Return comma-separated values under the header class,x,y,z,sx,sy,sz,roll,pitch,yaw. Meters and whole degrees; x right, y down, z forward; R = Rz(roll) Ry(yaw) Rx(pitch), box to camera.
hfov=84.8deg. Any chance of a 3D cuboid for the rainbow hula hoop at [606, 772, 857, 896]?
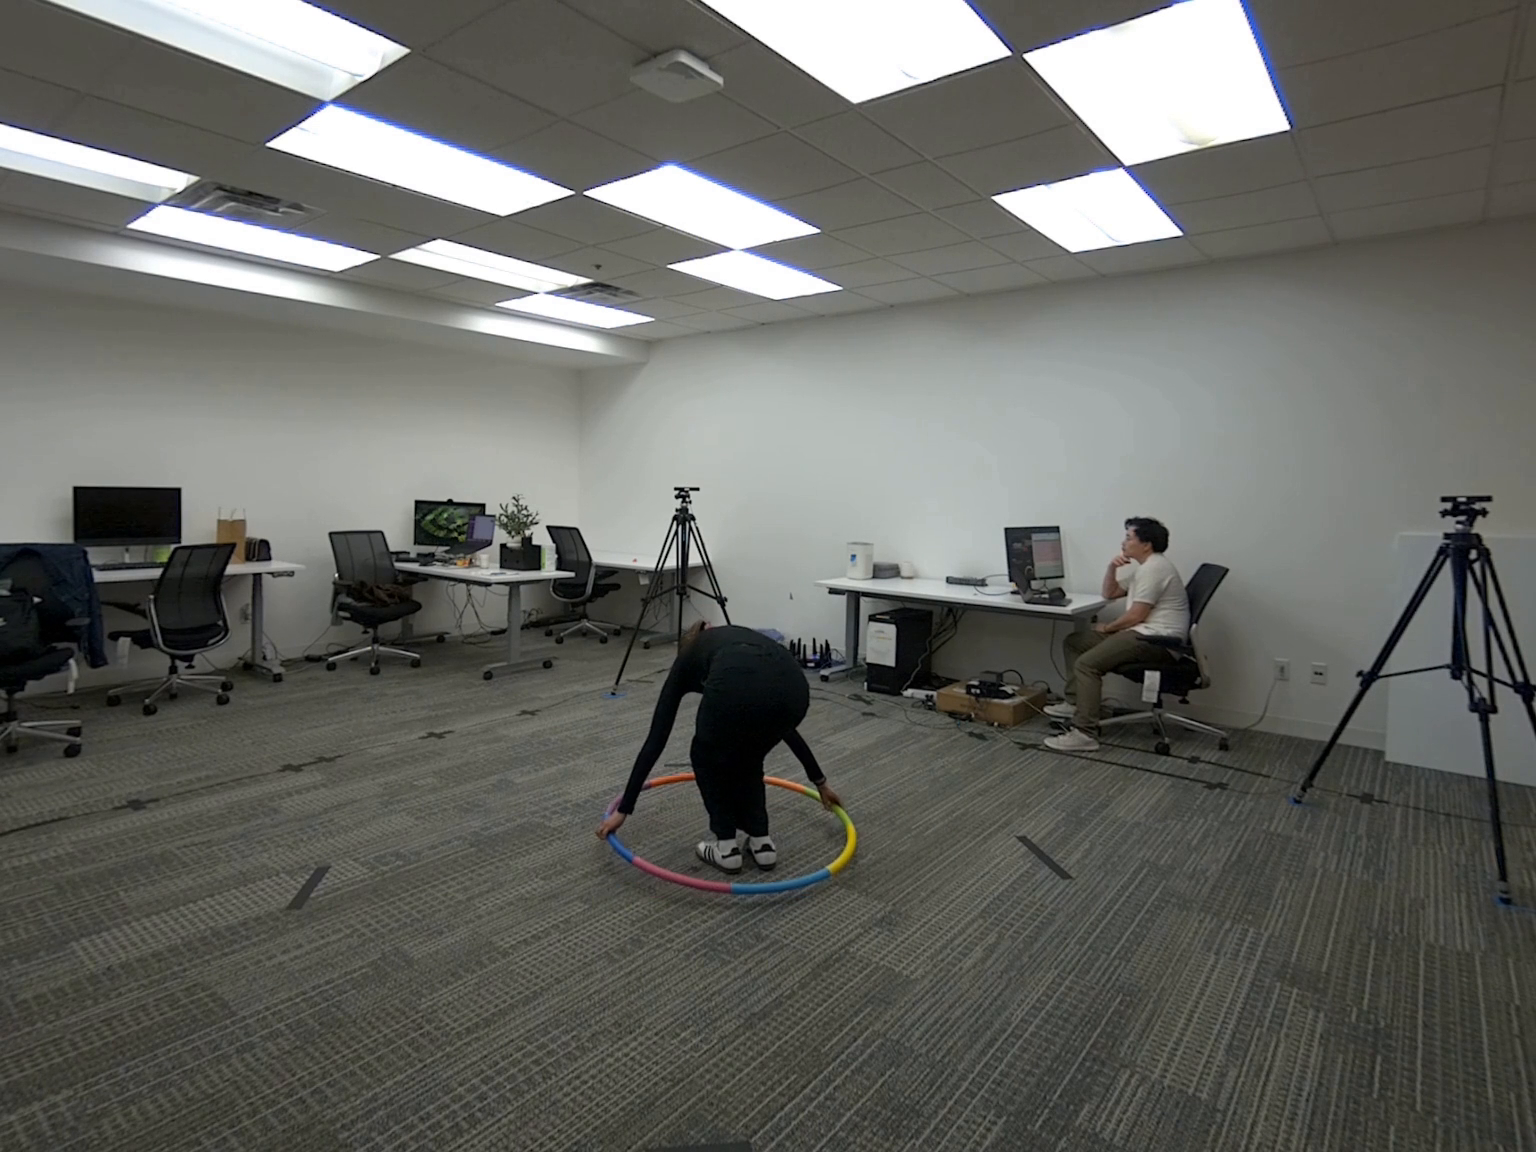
class,x,y,z,sx,sy,sz,roll,pitch,yaw
rainbow hula hoop,-0.160,0.949,3.301,0.977,0.035,0.987,3,9,-2
